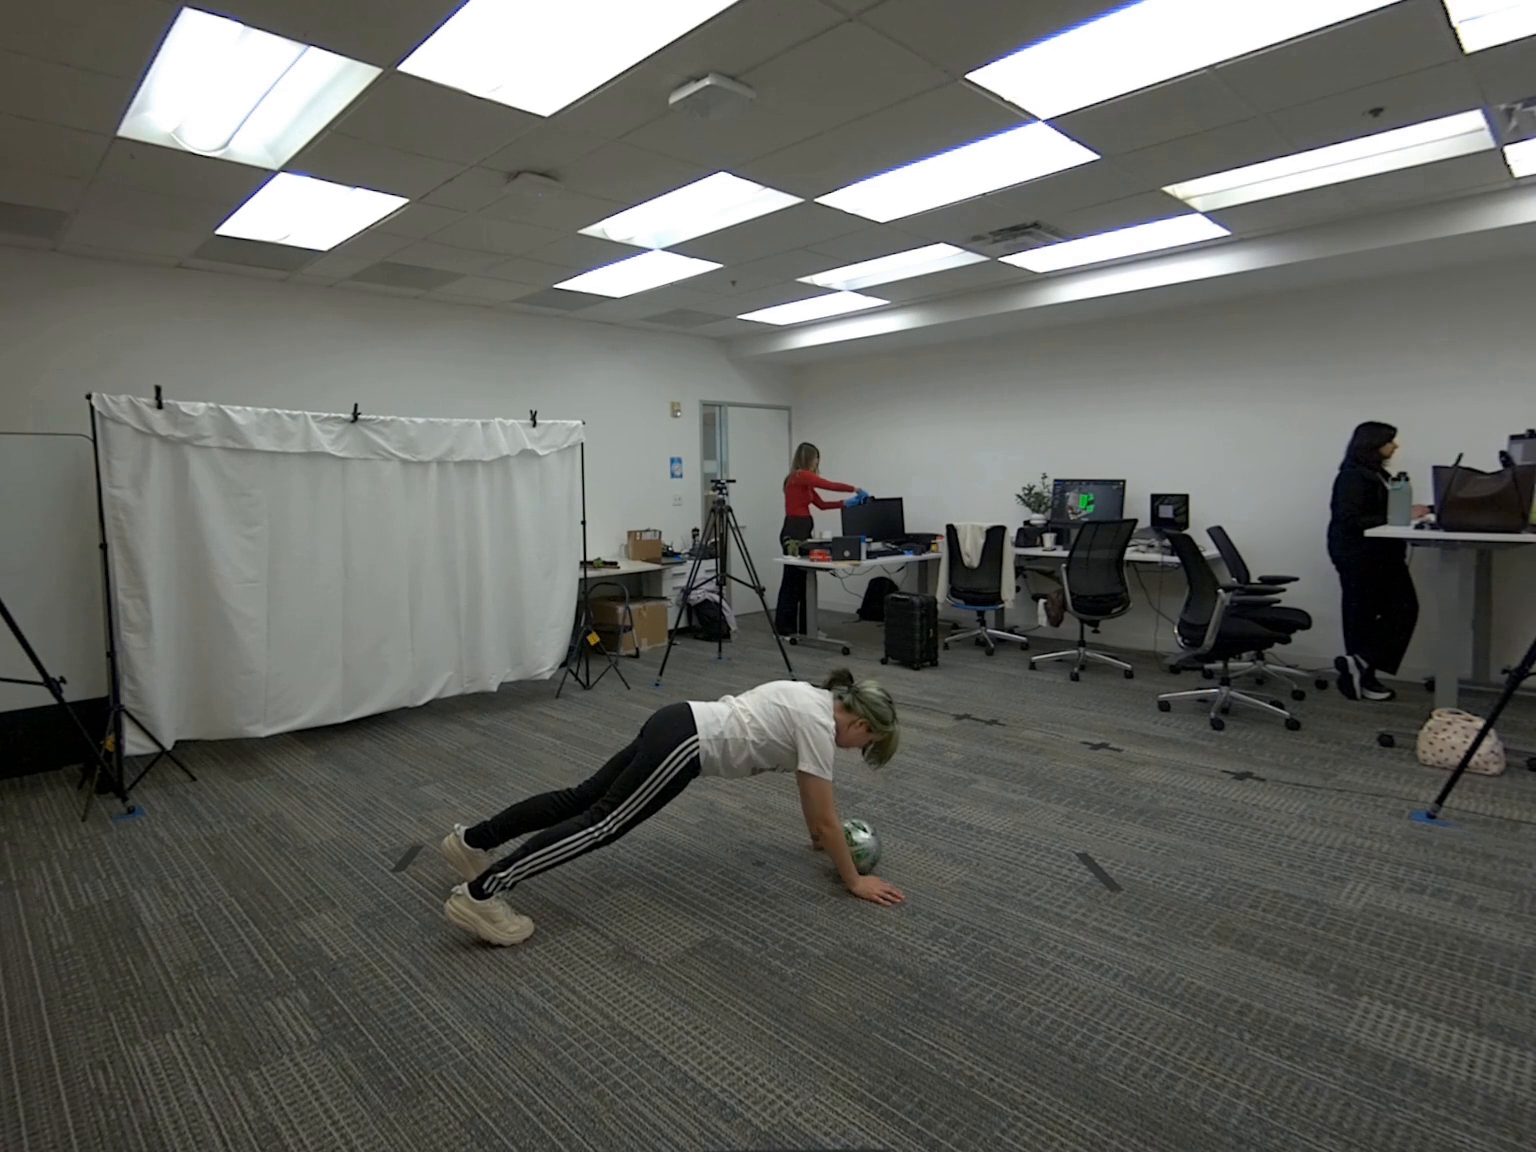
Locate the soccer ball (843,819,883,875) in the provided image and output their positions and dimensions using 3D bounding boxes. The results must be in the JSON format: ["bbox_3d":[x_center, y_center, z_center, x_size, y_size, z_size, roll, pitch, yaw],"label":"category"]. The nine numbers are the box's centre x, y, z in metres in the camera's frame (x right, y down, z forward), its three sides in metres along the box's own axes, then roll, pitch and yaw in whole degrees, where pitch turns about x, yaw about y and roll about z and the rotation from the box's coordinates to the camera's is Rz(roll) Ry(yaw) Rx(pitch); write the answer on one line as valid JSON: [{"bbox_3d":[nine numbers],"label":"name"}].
[{"bbox_3d":[0.304,0.956,3.016,0.187,0.187,0.188,-1,5,-2],"label":"soccer ball"}]
